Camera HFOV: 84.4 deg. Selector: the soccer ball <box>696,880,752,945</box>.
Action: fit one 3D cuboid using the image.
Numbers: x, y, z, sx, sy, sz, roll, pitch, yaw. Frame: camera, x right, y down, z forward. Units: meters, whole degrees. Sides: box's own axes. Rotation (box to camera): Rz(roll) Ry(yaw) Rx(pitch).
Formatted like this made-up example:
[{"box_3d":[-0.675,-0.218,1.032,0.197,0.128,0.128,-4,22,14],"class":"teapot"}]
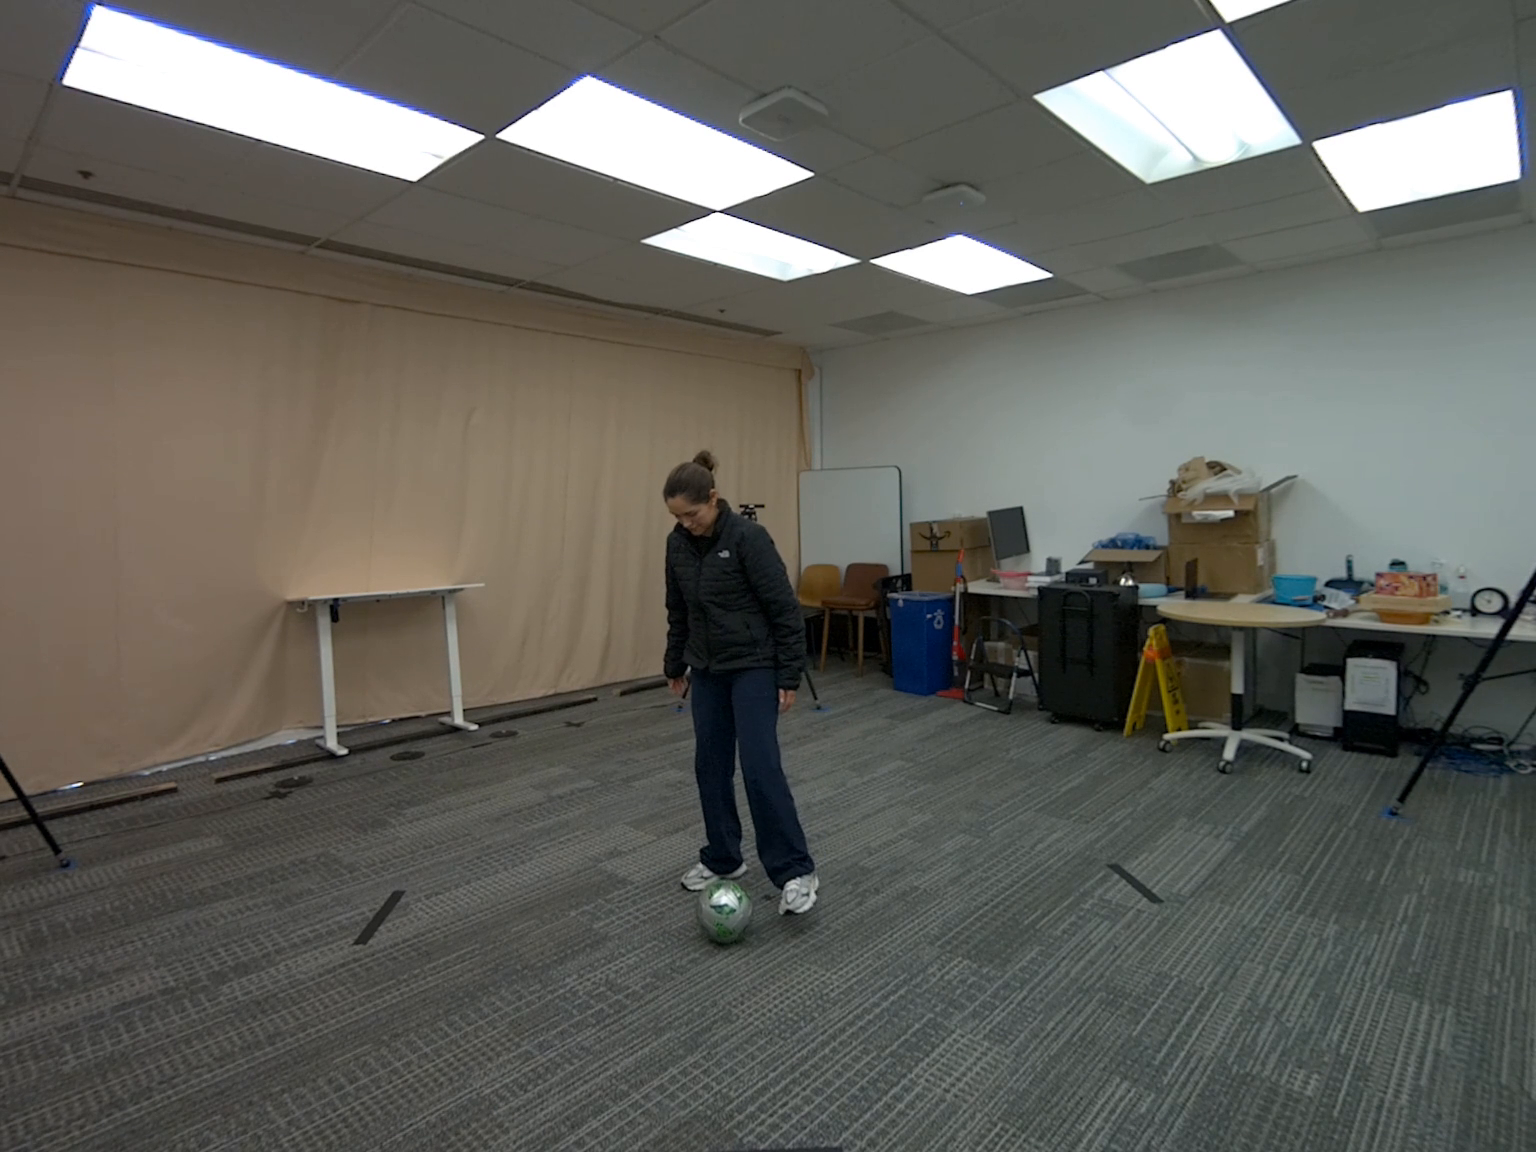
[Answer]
[{"box_3d":[-0.137,1.064,2.696,0.187,0.187,0.188,-1,4,-2],"class":"soccer ball"}]
